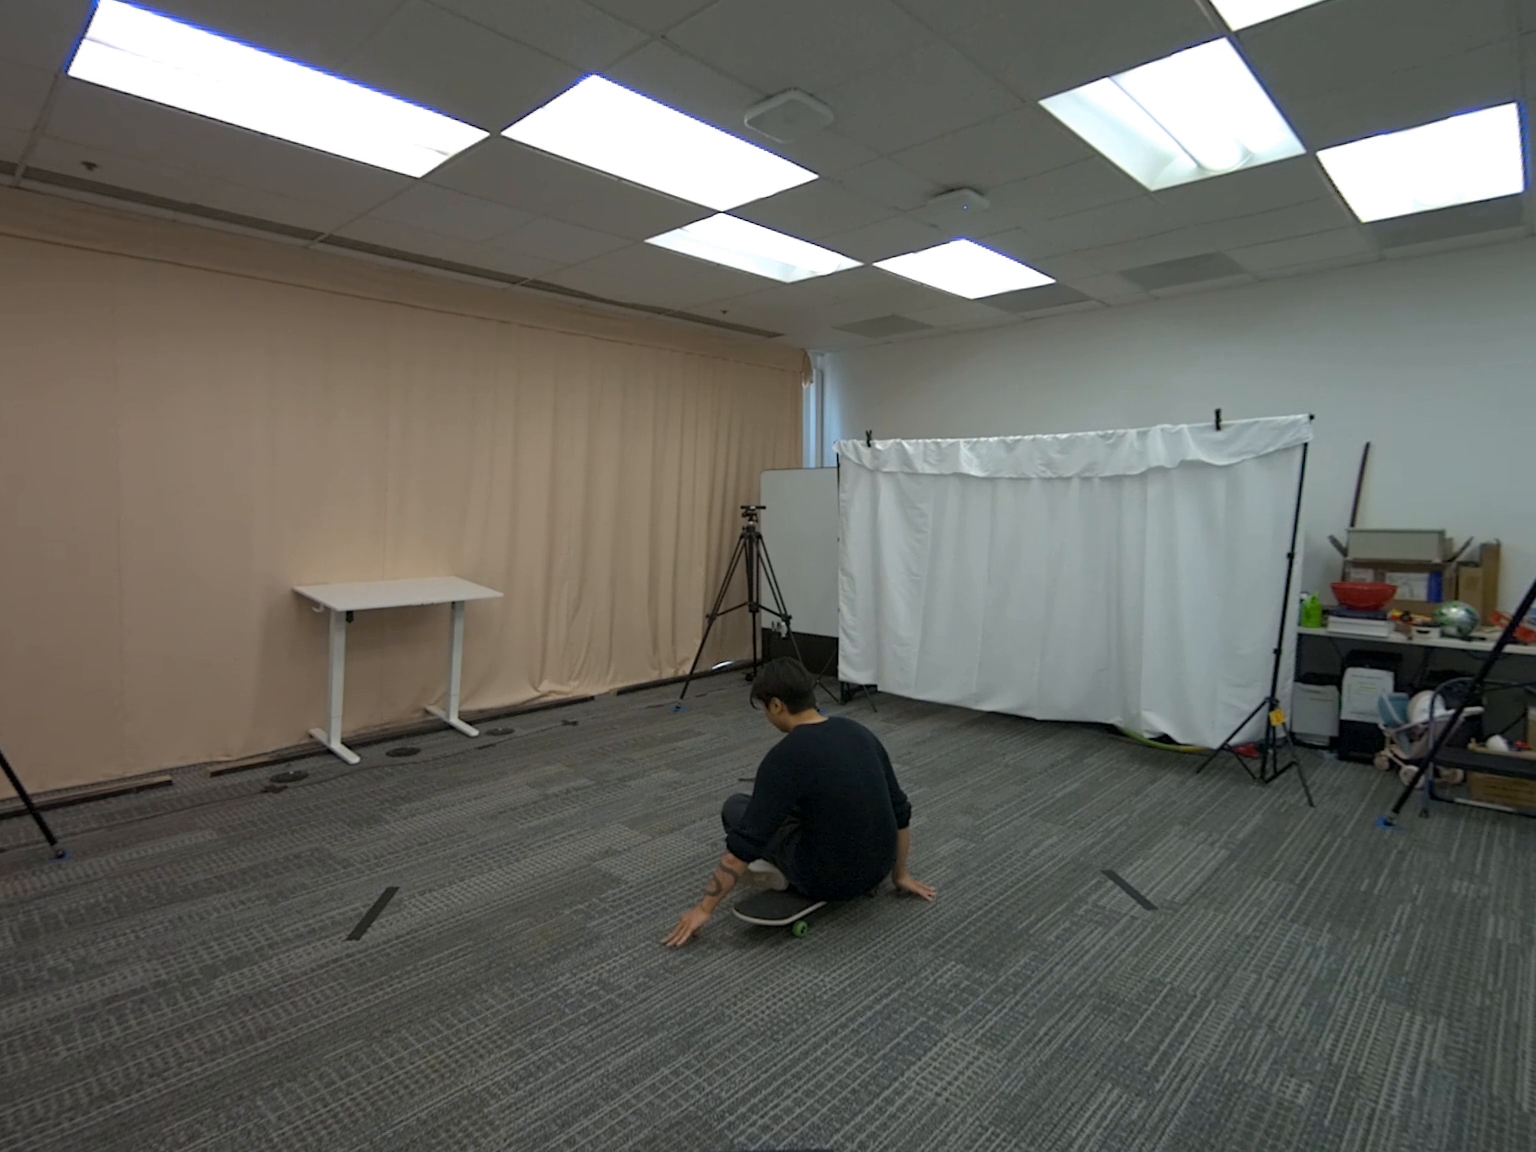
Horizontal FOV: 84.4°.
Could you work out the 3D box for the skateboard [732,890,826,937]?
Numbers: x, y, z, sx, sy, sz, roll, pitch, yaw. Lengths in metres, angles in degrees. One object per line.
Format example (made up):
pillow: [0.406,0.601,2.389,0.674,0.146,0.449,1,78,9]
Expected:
skateboard: [0.176,1.098,2.923,0.200,0.110,0.761,1,4,41]
